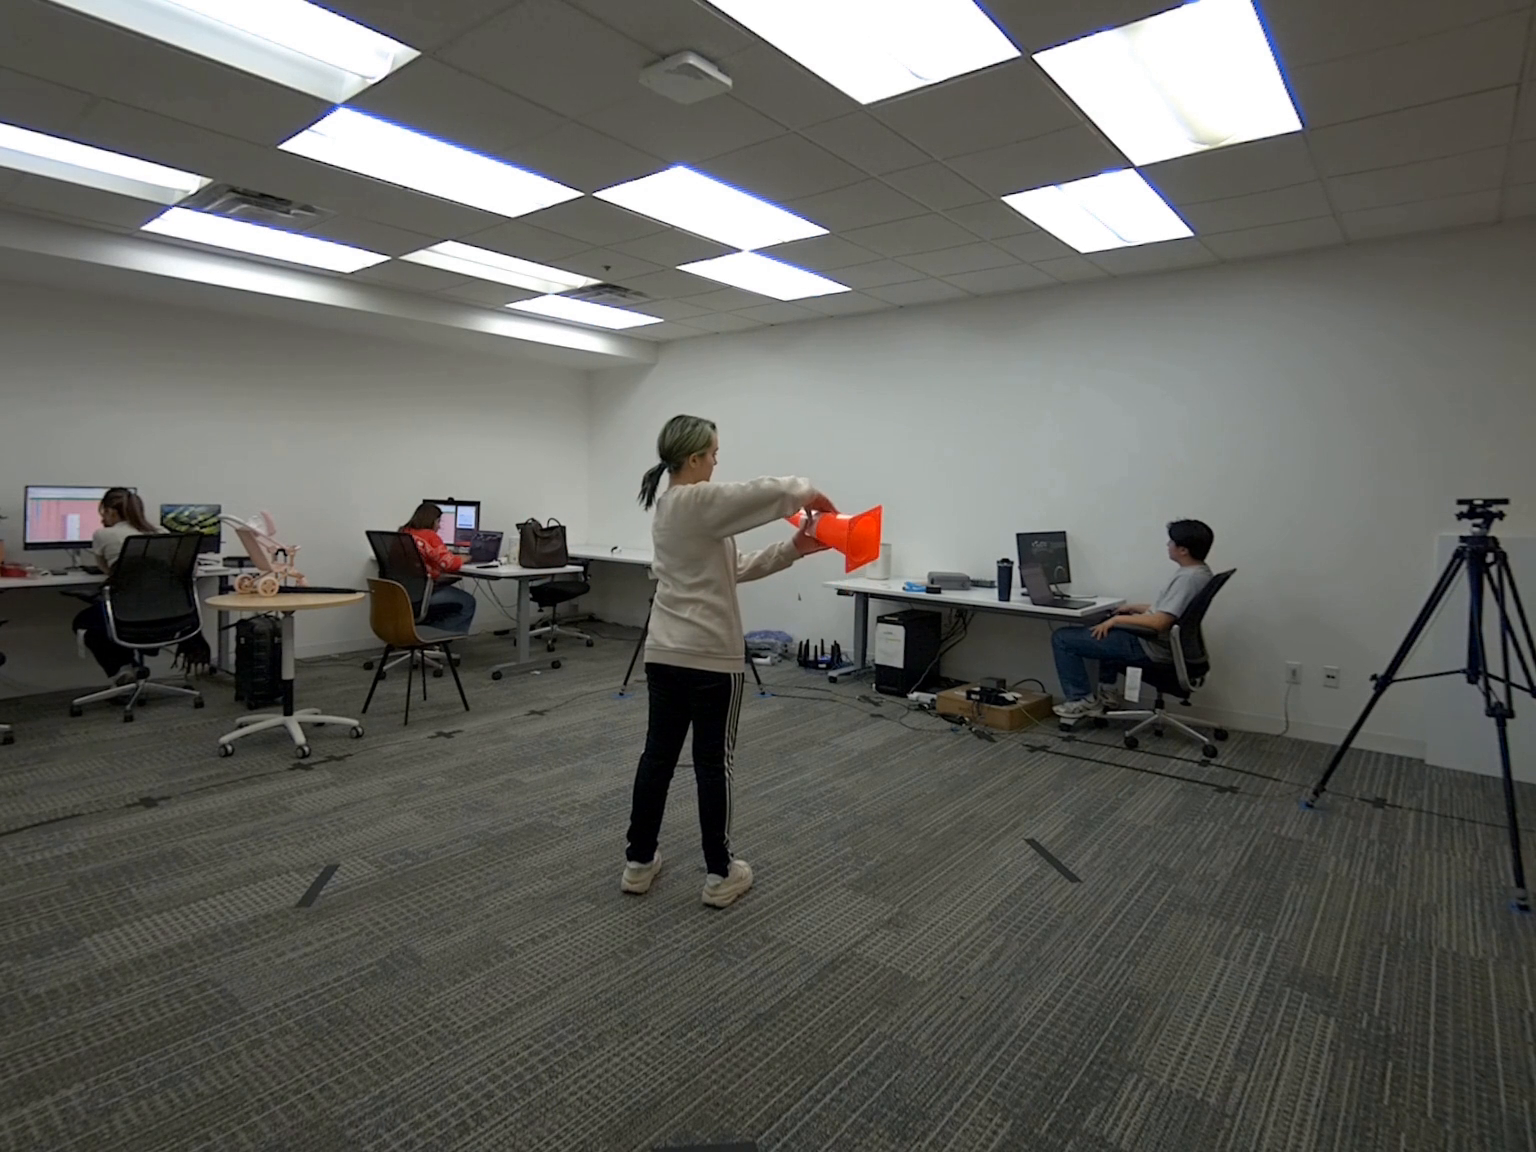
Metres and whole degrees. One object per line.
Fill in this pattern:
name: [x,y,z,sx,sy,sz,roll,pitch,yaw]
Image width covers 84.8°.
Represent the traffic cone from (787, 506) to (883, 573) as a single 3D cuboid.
traffic cone: [0.174,-0.166,2.985,0.399,0.201,0.199,22,31,38]
